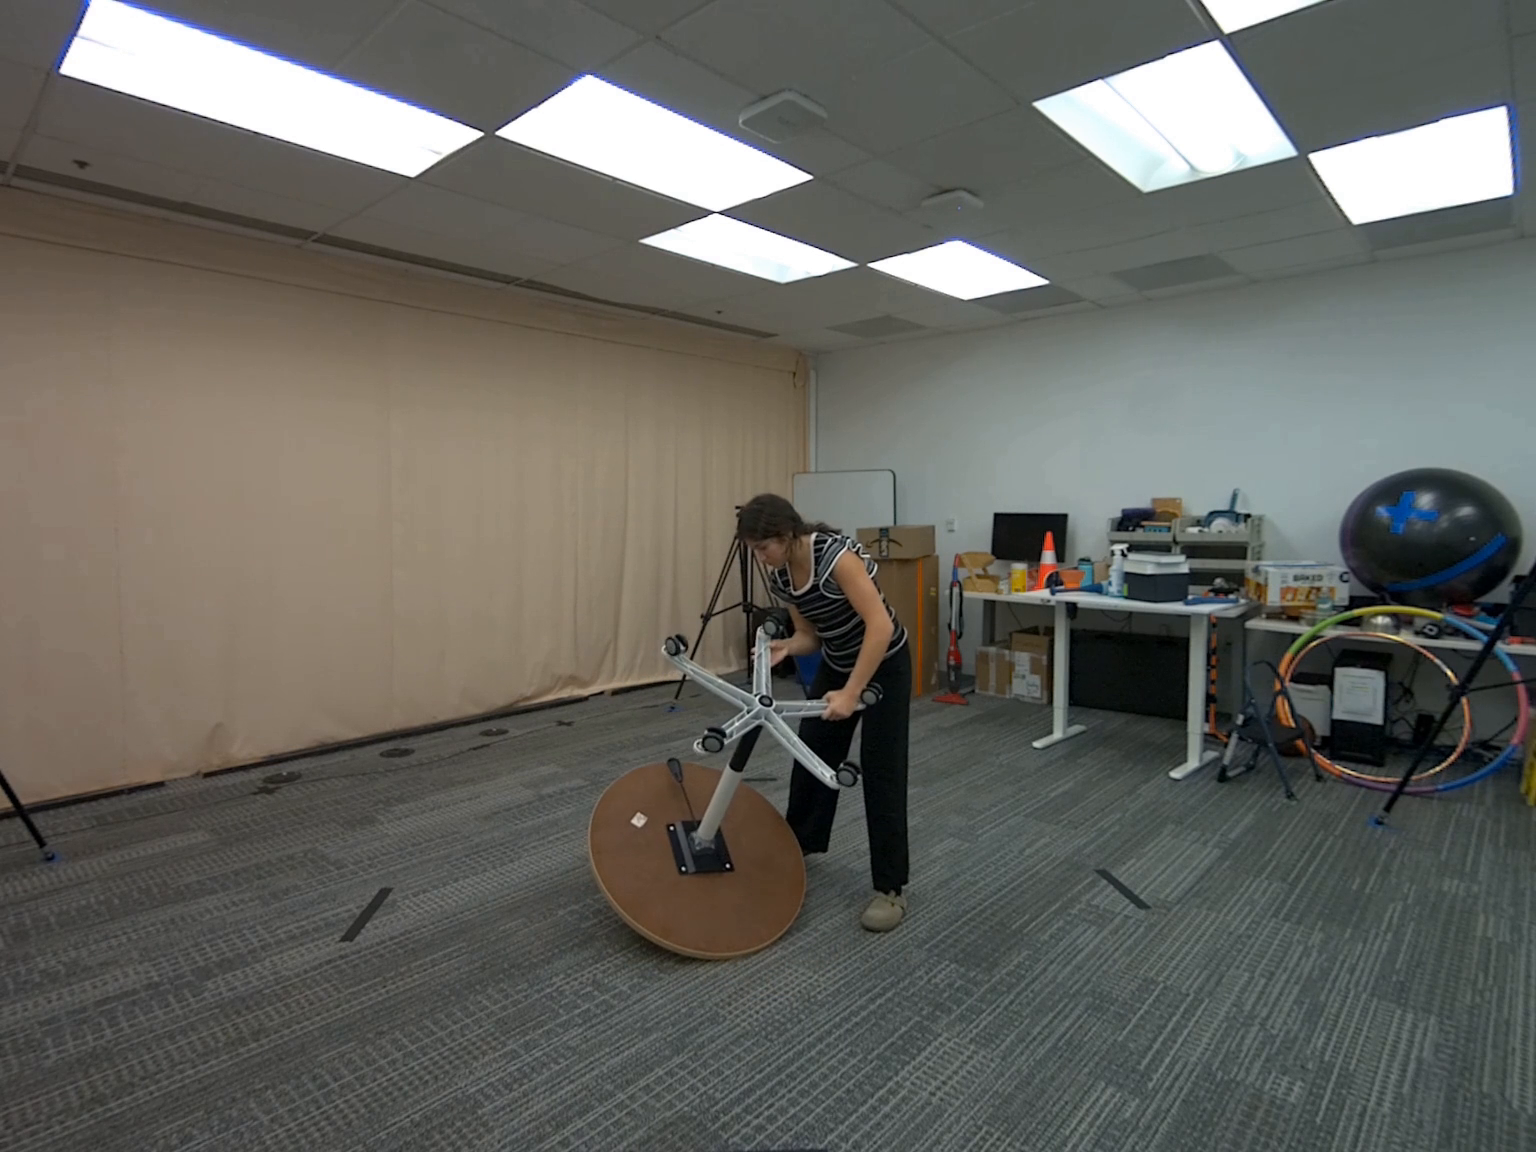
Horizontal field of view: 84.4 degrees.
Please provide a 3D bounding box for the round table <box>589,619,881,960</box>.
[{"bbox_3d":[-0.105,0.631,2.683,0.755,0.790,0.777,15,30,-11],"label":"round table"}]
